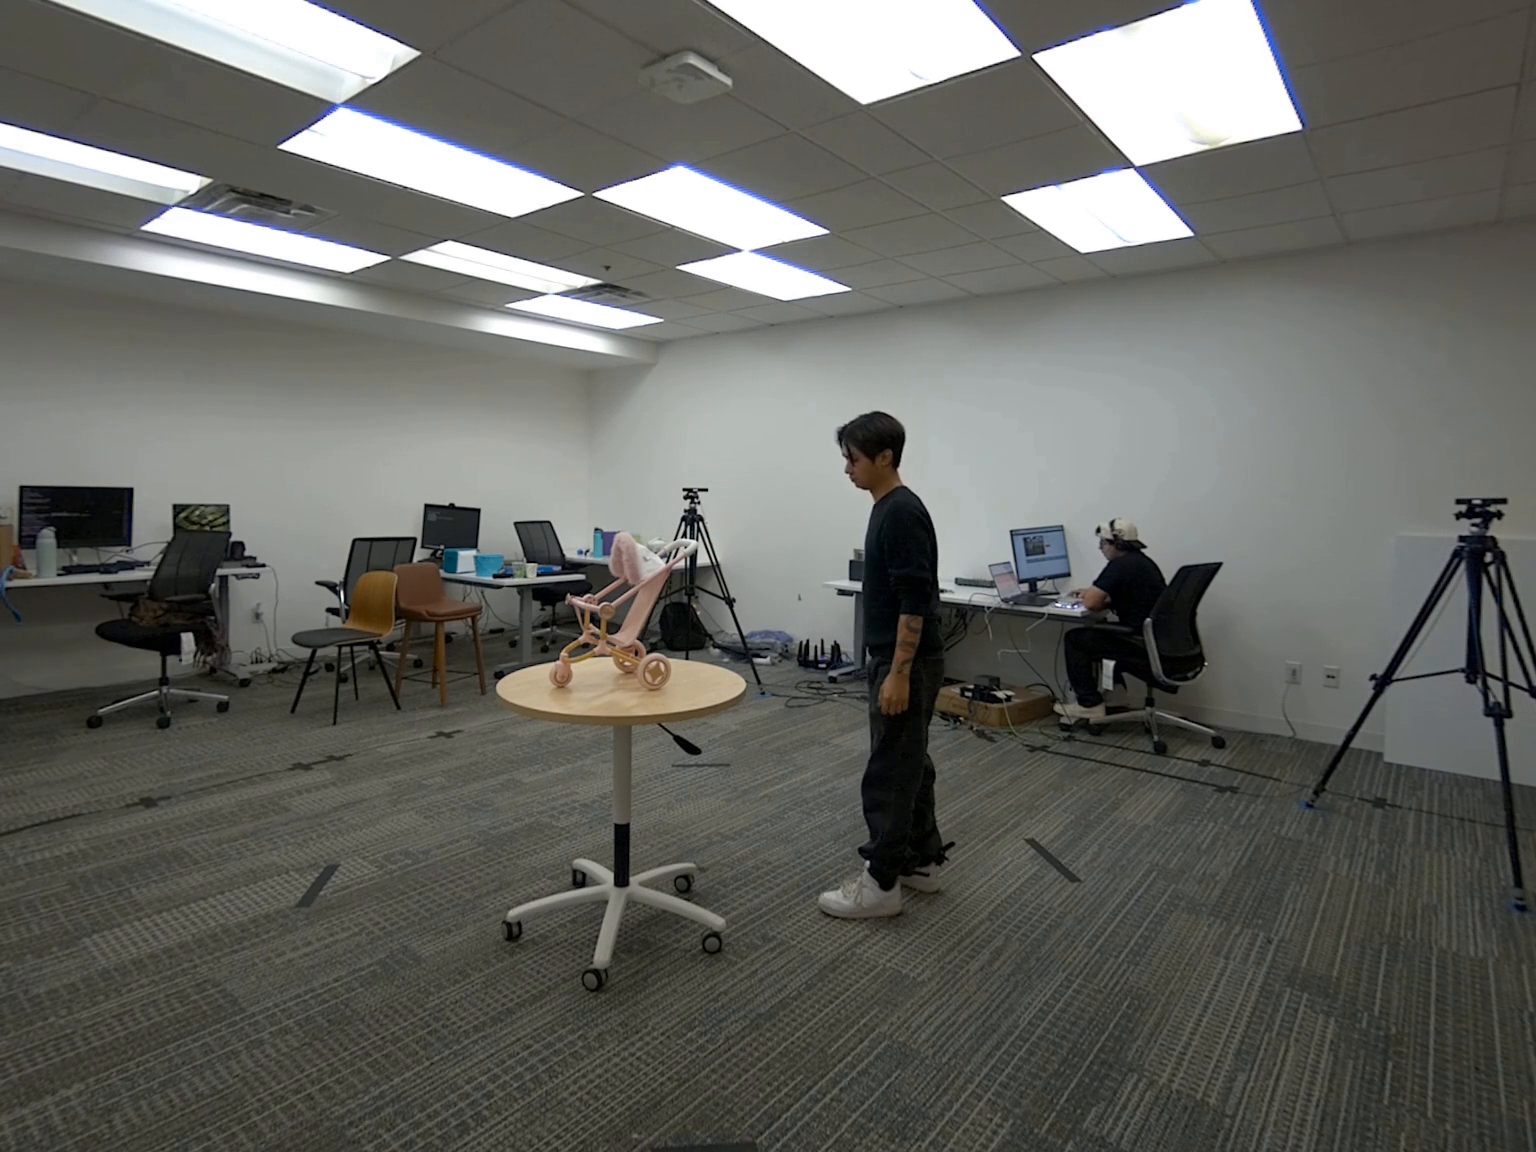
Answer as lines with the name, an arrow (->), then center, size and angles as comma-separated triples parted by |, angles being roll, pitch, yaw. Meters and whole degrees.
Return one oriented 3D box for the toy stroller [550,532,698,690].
toy stroller -> -0.468, 0.104, 2.628 | 0.333, 0.535, 0.288 | 15, -1, -20
